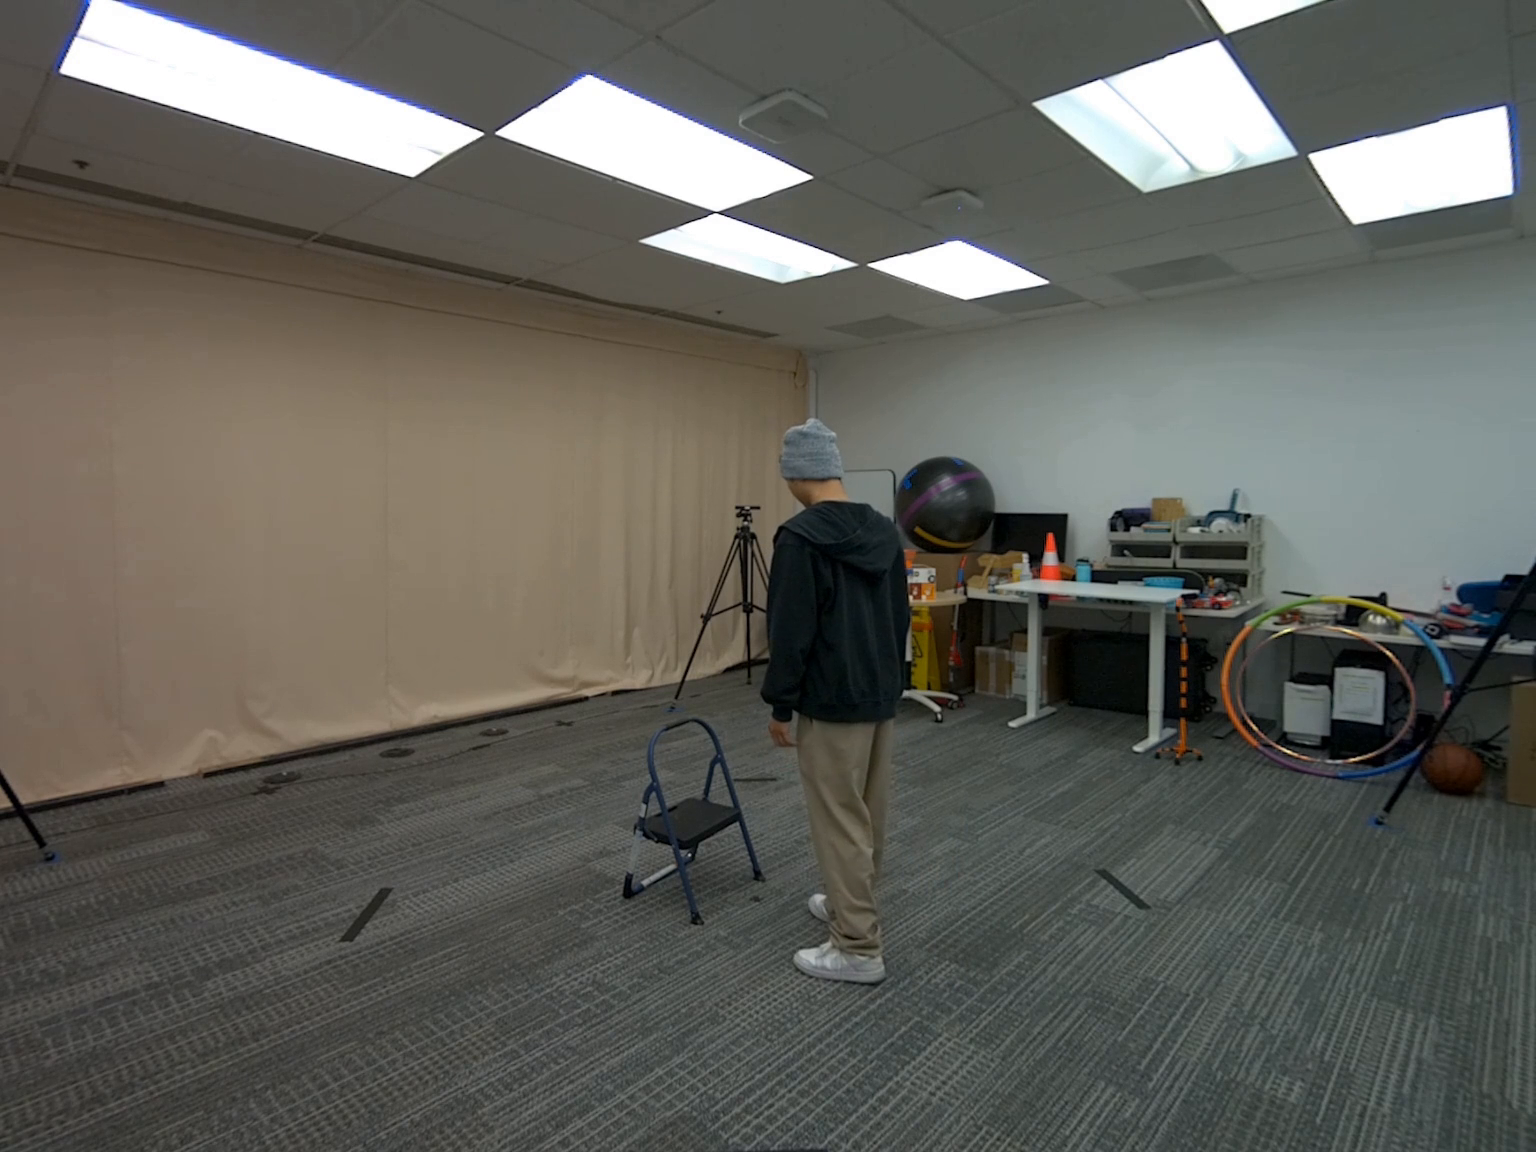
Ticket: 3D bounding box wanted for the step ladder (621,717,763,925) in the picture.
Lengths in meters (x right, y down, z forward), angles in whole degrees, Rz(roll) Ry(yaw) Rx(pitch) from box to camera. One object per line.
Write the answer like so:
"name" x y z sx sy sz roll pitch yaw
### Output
"step ladder" -0.266 0.837 3.053 0.360 0.605 0.418 2 4 33
